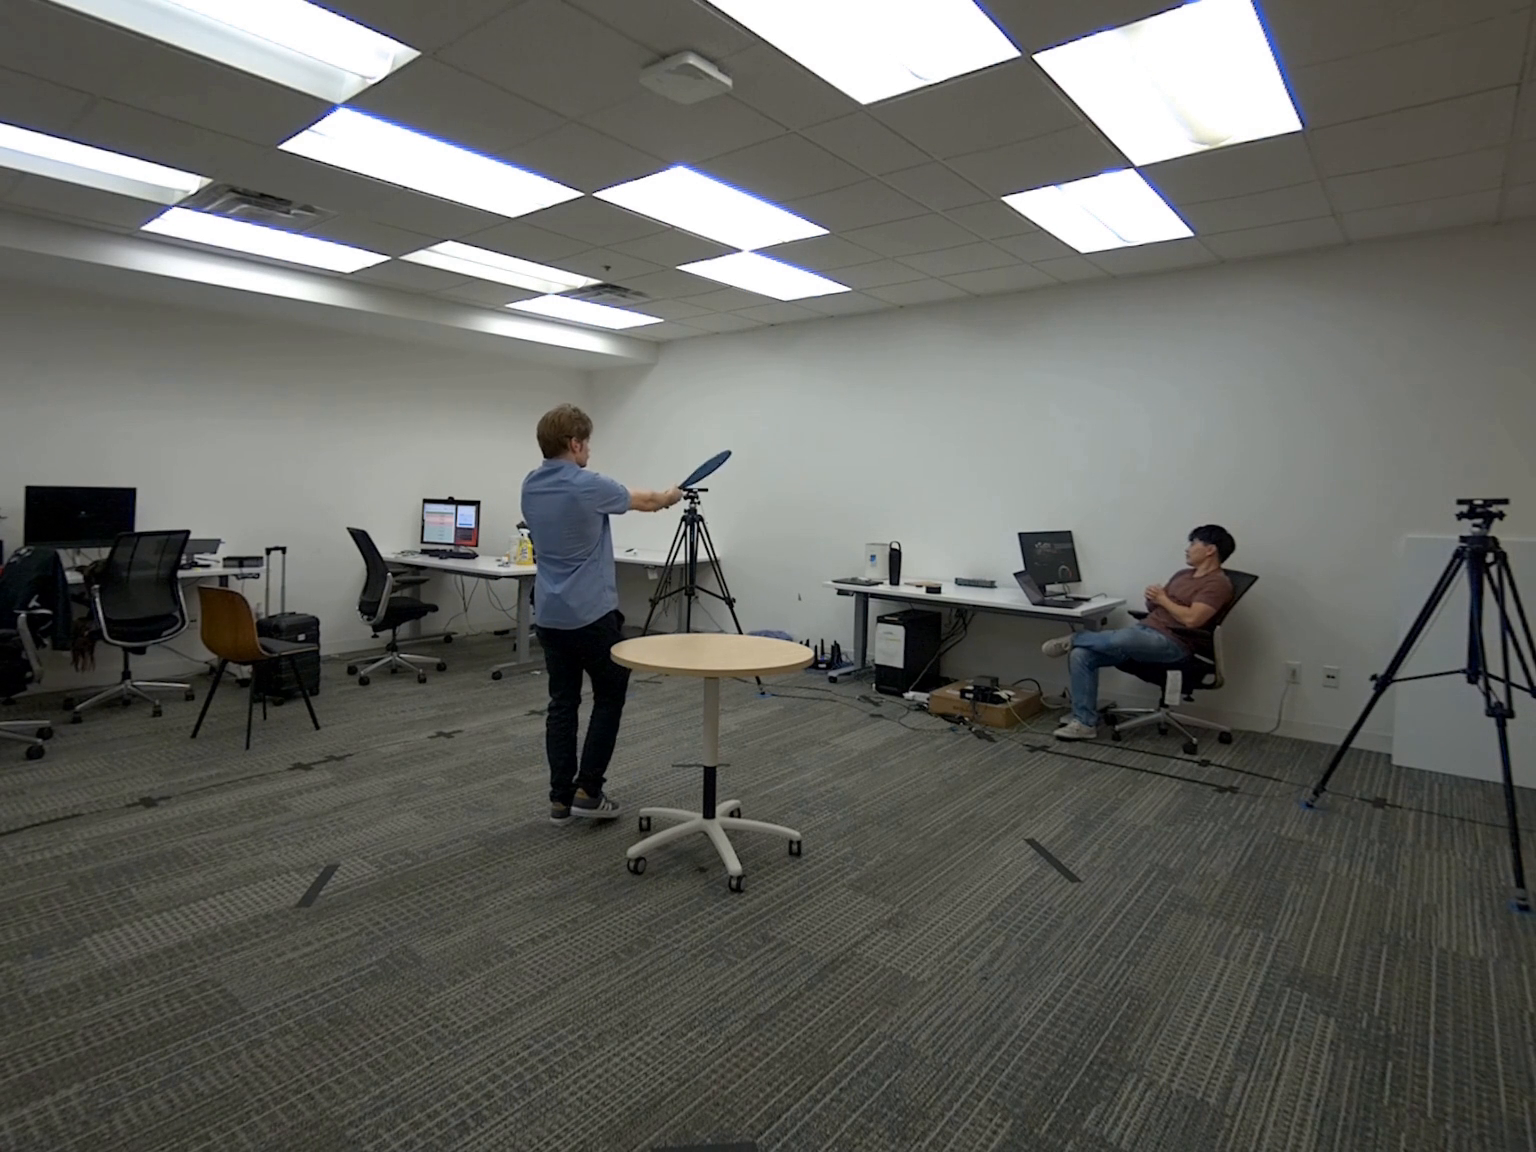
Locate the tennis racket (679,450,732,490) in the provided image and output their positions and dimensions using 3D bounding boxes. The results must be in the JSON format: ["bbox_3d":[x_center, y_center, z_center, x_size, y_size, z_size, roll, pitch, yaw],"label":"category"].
[{"bbox_3d":[-0.365,-0.460,3.969,0.432,0.032,0.211,-36,-6,-5],"label":"tennis racket"}]
